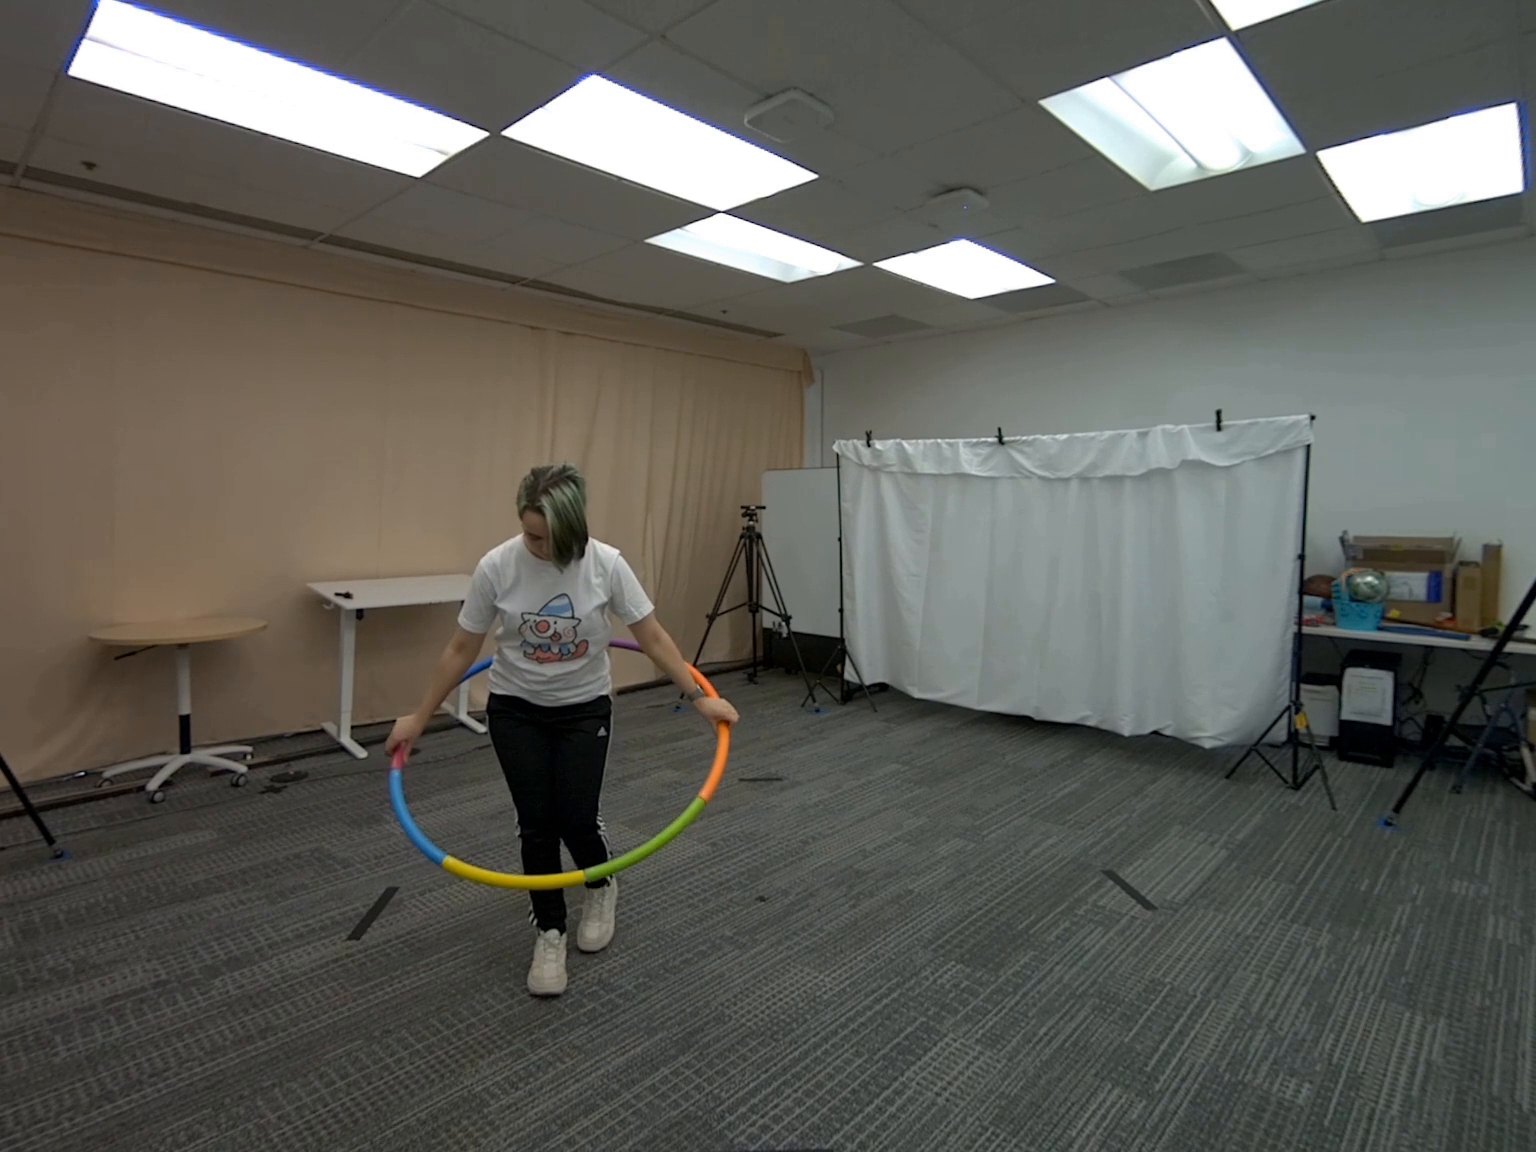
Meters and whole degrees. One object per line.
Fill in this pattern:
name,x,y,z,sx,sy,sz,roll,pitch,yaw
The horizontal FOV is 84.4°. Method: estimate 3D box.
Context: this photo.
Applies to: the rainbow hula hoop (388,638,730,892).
rainbow hula hoop,-0.597,0.485,2.494,0.985,0.051,1.003,-2,34,-1
